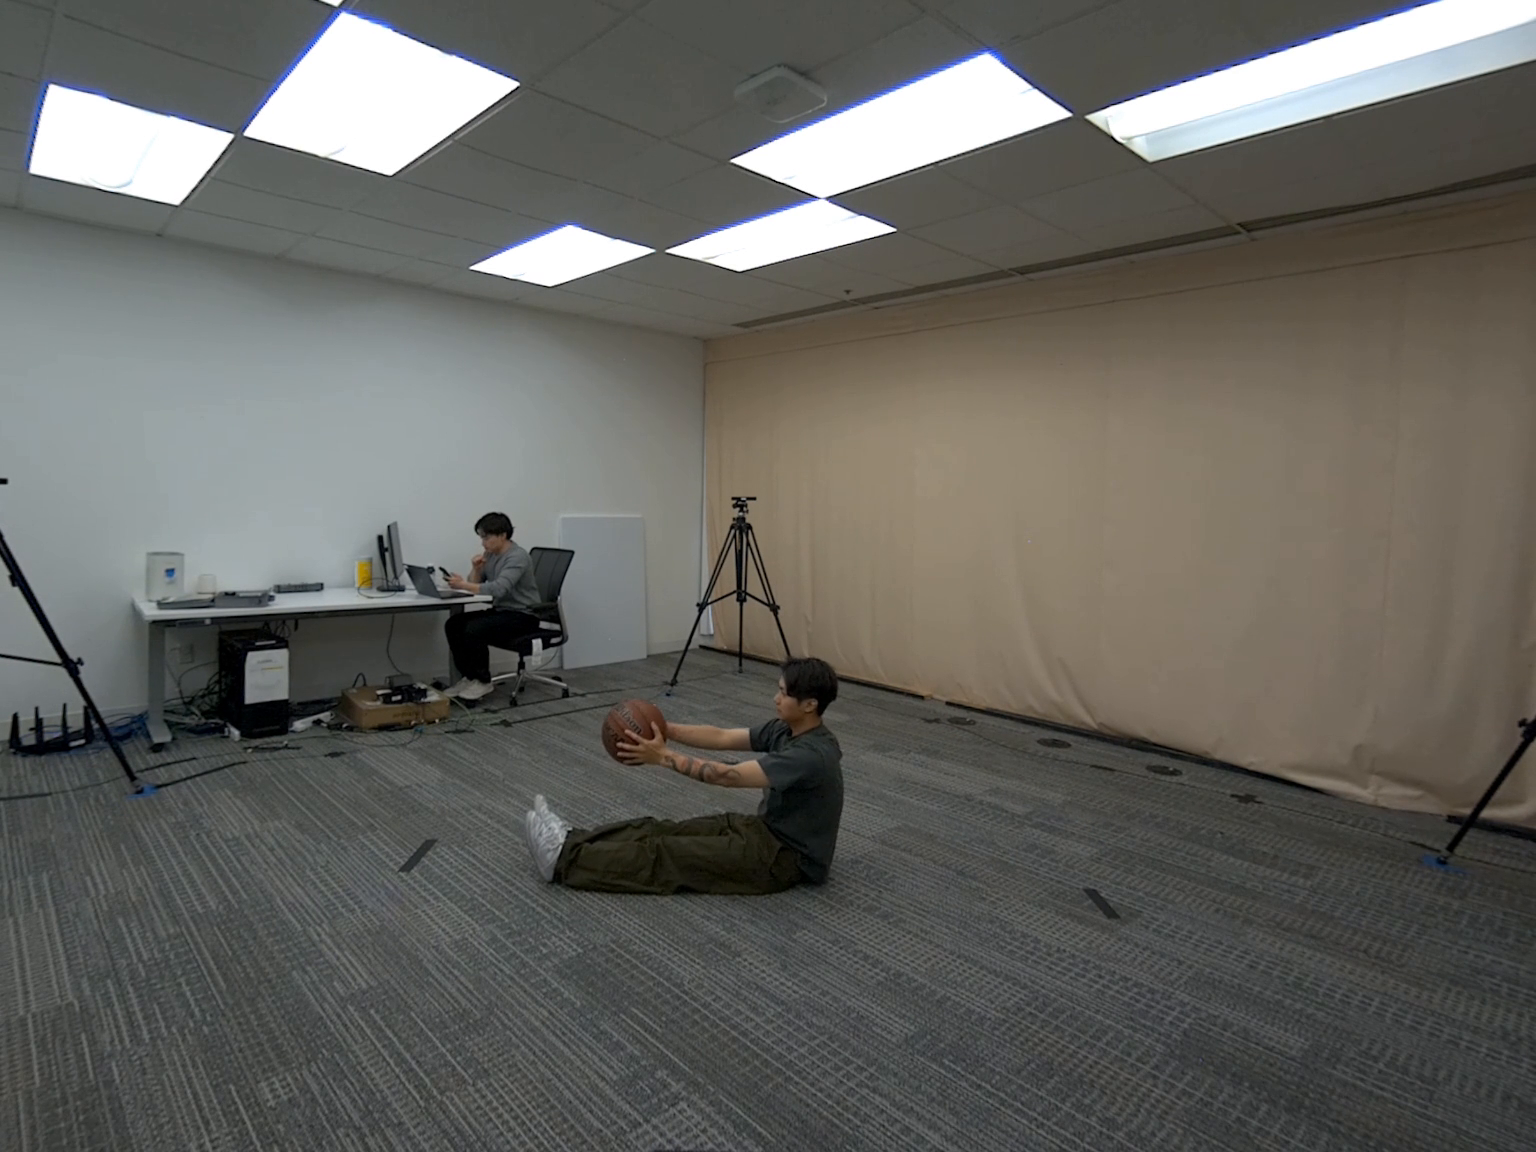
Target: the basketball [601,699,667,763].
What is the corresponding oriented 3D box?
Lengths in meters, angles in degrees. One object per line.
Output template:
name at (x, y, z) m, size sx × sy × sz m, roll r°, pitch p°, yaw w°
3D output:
basketball at (-0.485, 0.566, 3.062) m, size 0.236 × 0.235 × 0.237 m, roll 1°, pitch 4°, yaw -1°
